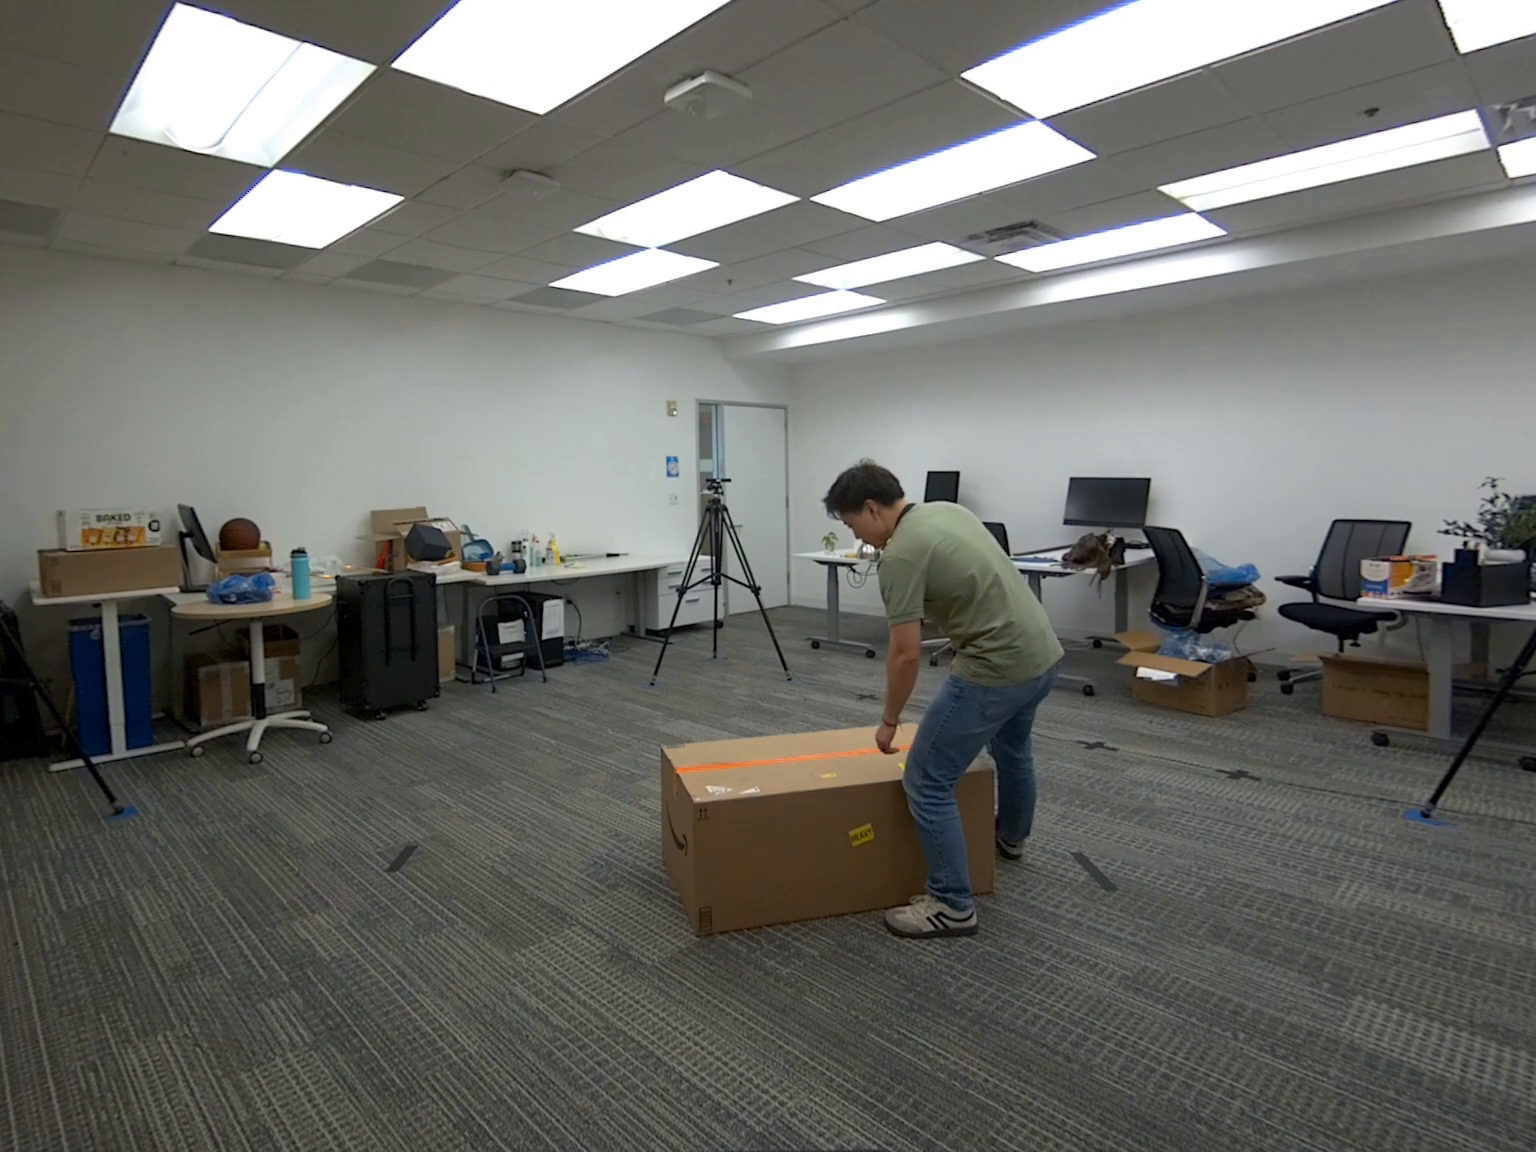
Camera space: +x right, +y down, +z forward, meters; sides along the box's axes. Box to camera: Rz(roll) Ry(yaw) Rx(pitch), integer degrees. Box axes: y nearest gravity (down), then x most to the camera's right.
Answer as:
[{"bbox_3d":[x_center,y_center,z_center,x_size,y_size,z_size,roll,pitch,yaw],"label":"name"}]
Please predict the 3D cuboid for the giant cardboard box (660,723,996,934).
[{"bbox_3d":[0.177,0.834,2.996,1.012,0.424,0.588,-2,7,-15],"label":"giant cardboard box"}]
